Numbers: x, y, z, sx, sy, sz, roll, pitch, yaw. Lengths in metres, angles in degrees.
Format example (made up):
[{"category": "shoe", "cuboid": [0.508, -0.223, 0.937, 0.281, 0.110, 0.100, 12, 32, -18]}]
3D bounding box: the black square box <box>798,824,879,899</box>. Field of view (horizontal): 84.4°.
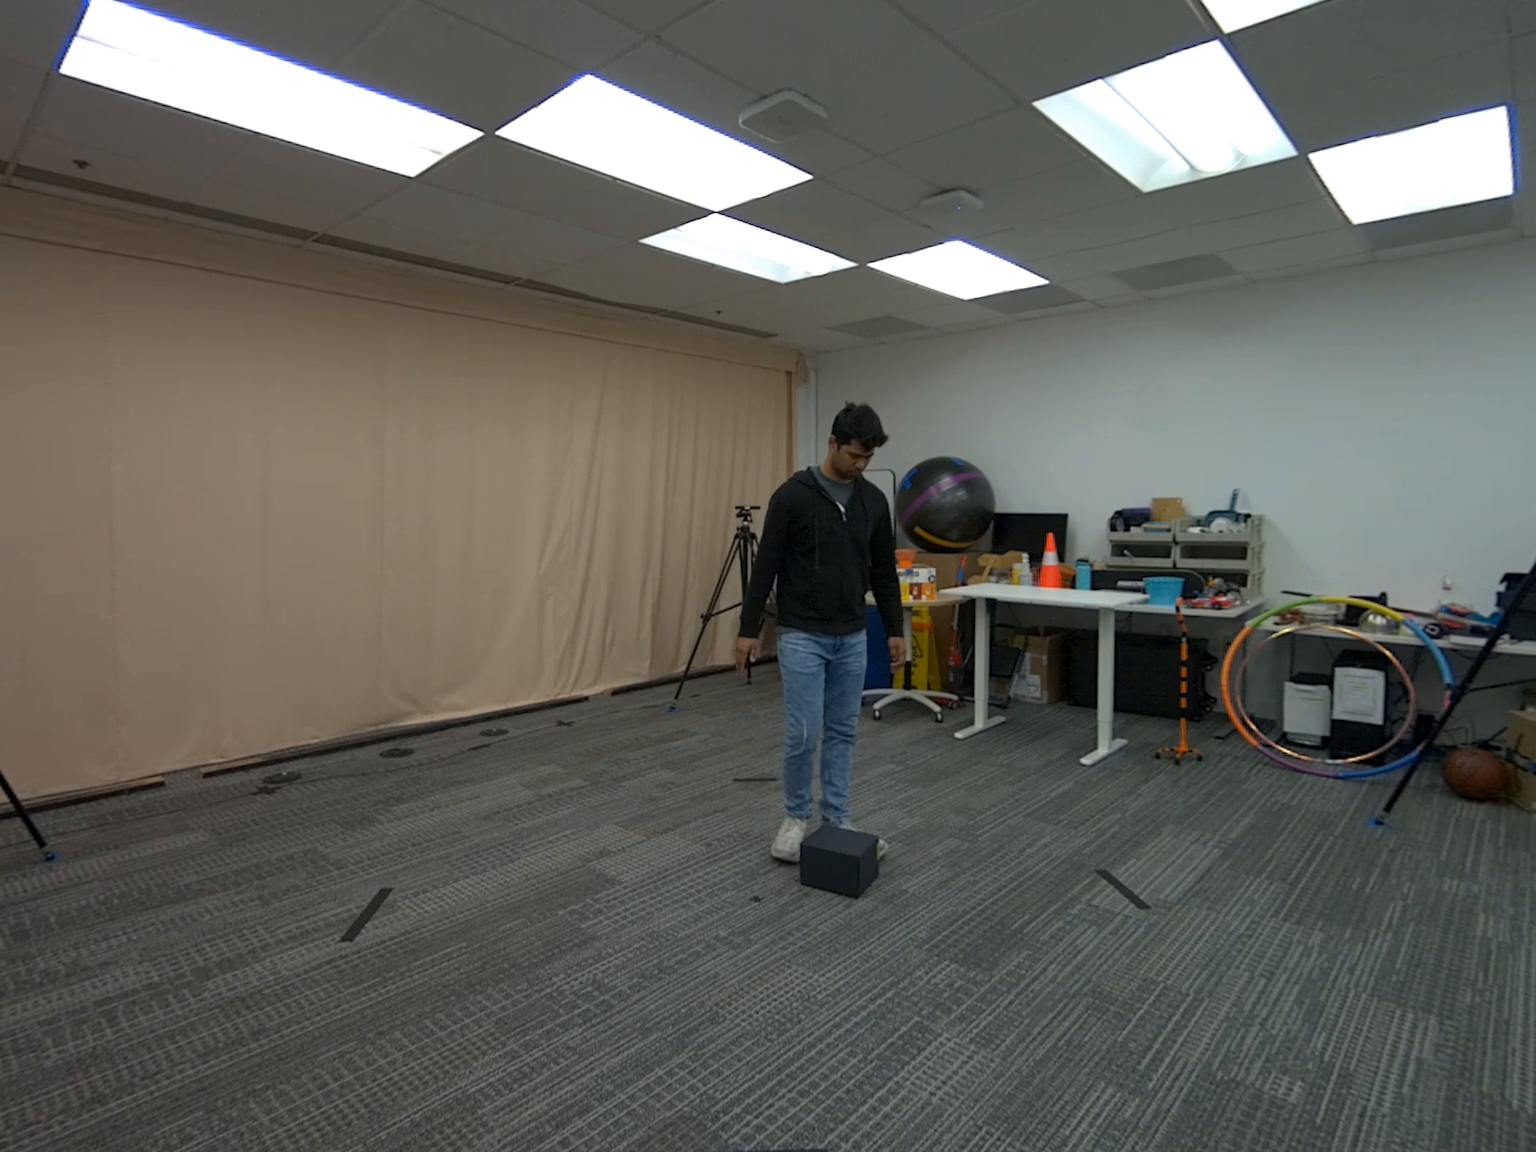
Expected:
[{"category": "black square box", "cuboid": [0.280, 1.042, 3.108, 0.234, 0.155, 0.211, 3, 5, 29]}]
